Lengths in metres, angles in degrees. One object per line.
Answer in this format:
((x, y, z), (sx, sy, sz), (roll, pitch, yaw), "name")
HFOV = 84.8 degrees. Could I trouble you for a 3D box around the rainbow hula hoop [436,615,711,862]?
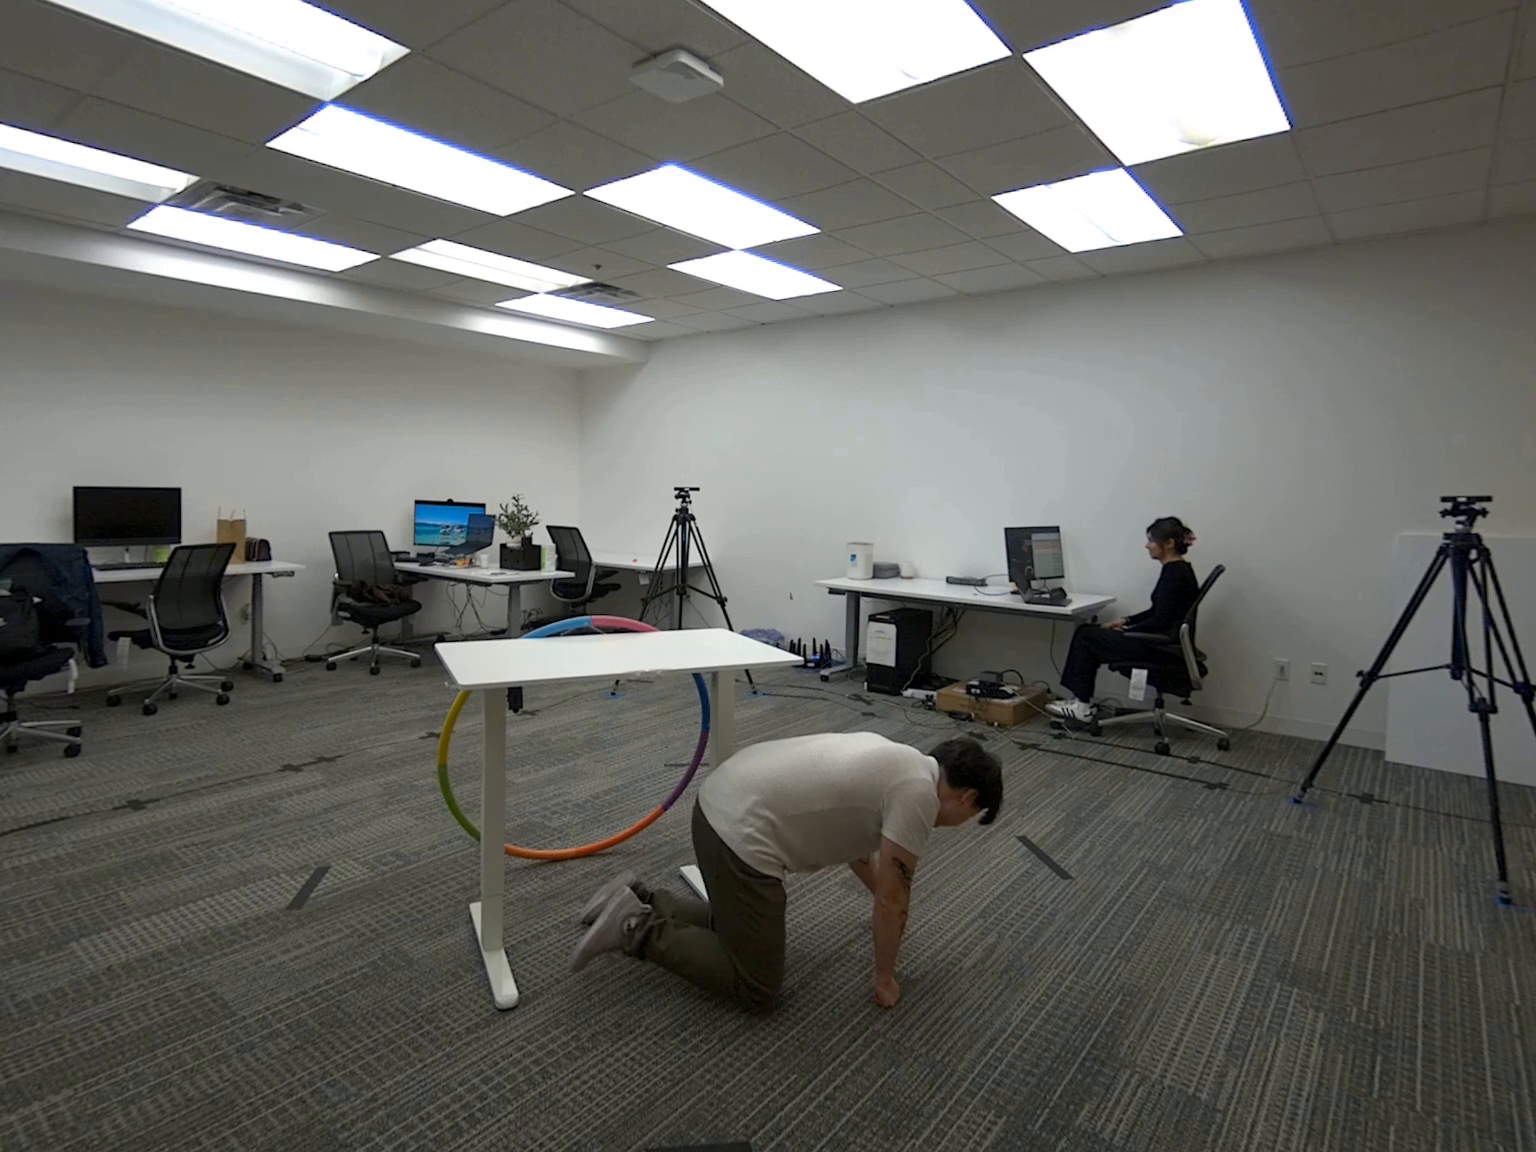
((-0.685, 0.598, 3.044), (0.955, 0.965, 0.037), (-1, 20, -25), "rainbow hula hoop")
